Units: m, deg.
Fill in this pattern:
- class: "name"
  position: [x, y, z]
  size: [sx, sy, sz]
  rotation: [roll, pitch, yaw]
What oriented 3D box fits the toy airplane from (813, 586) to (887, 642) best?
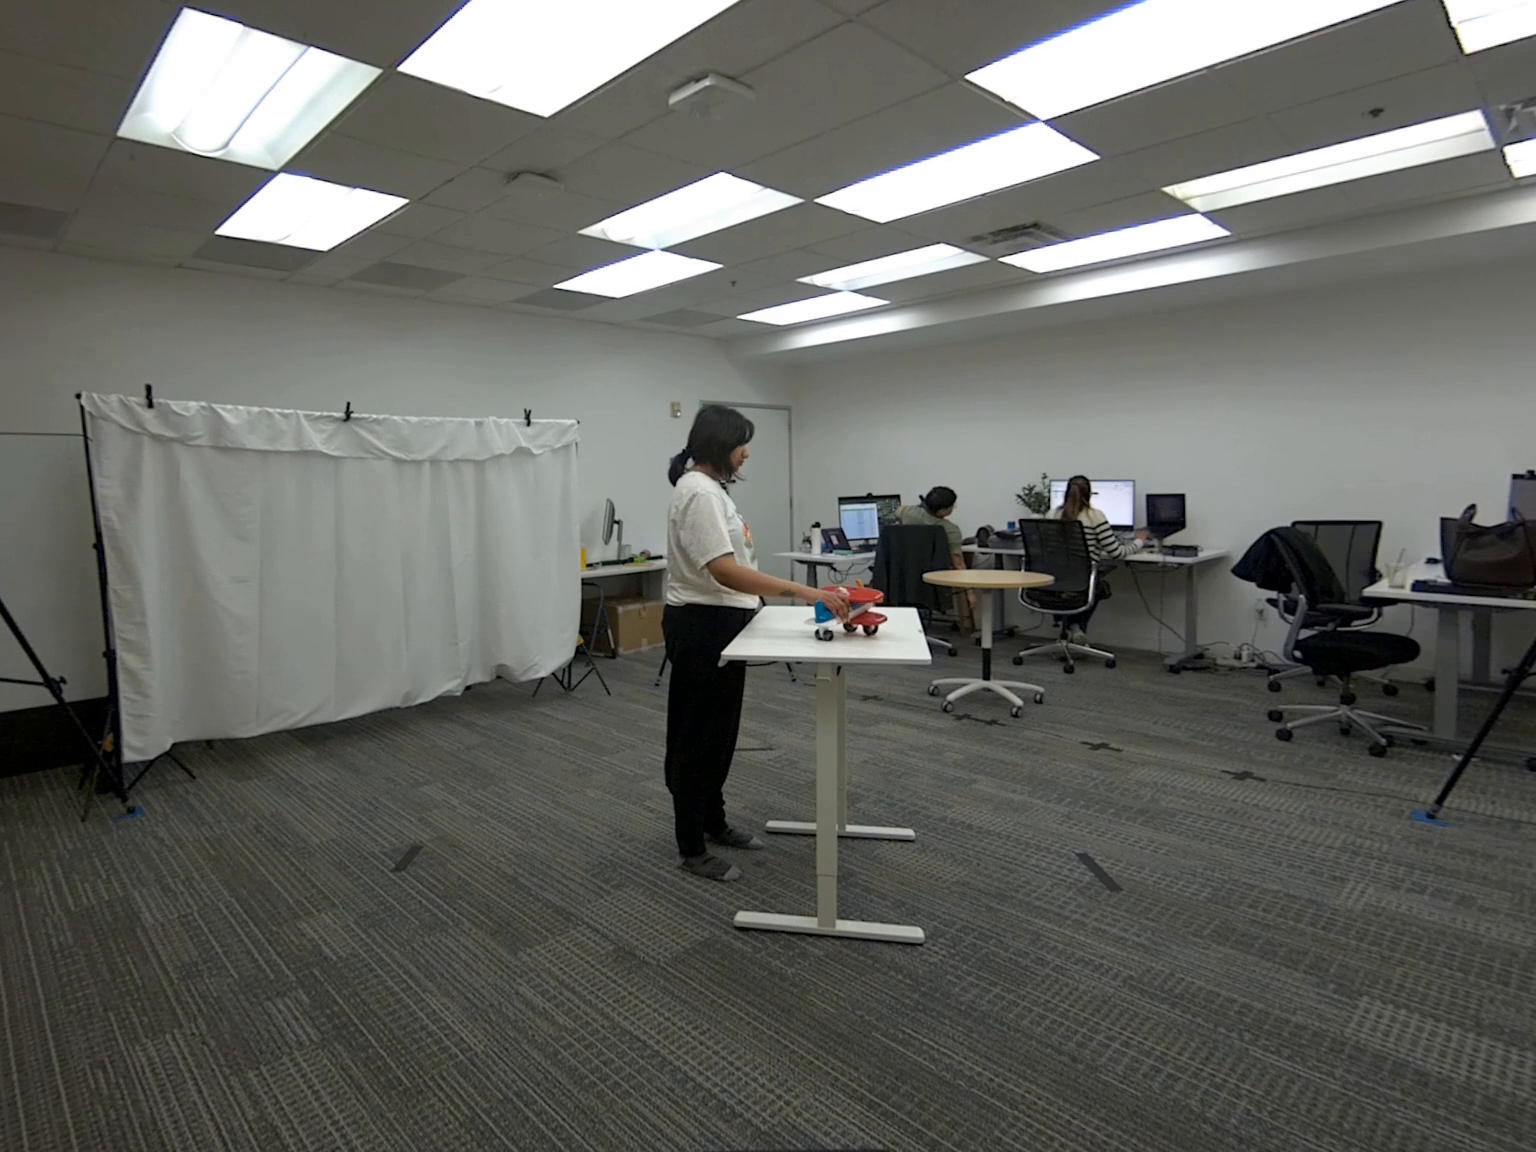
- class: "toy airplane"
  position: [0.262, 0.122, 2.754]
  size: [0.256, 0.156, 0.255]
  rotation: [2, 5, 20]
